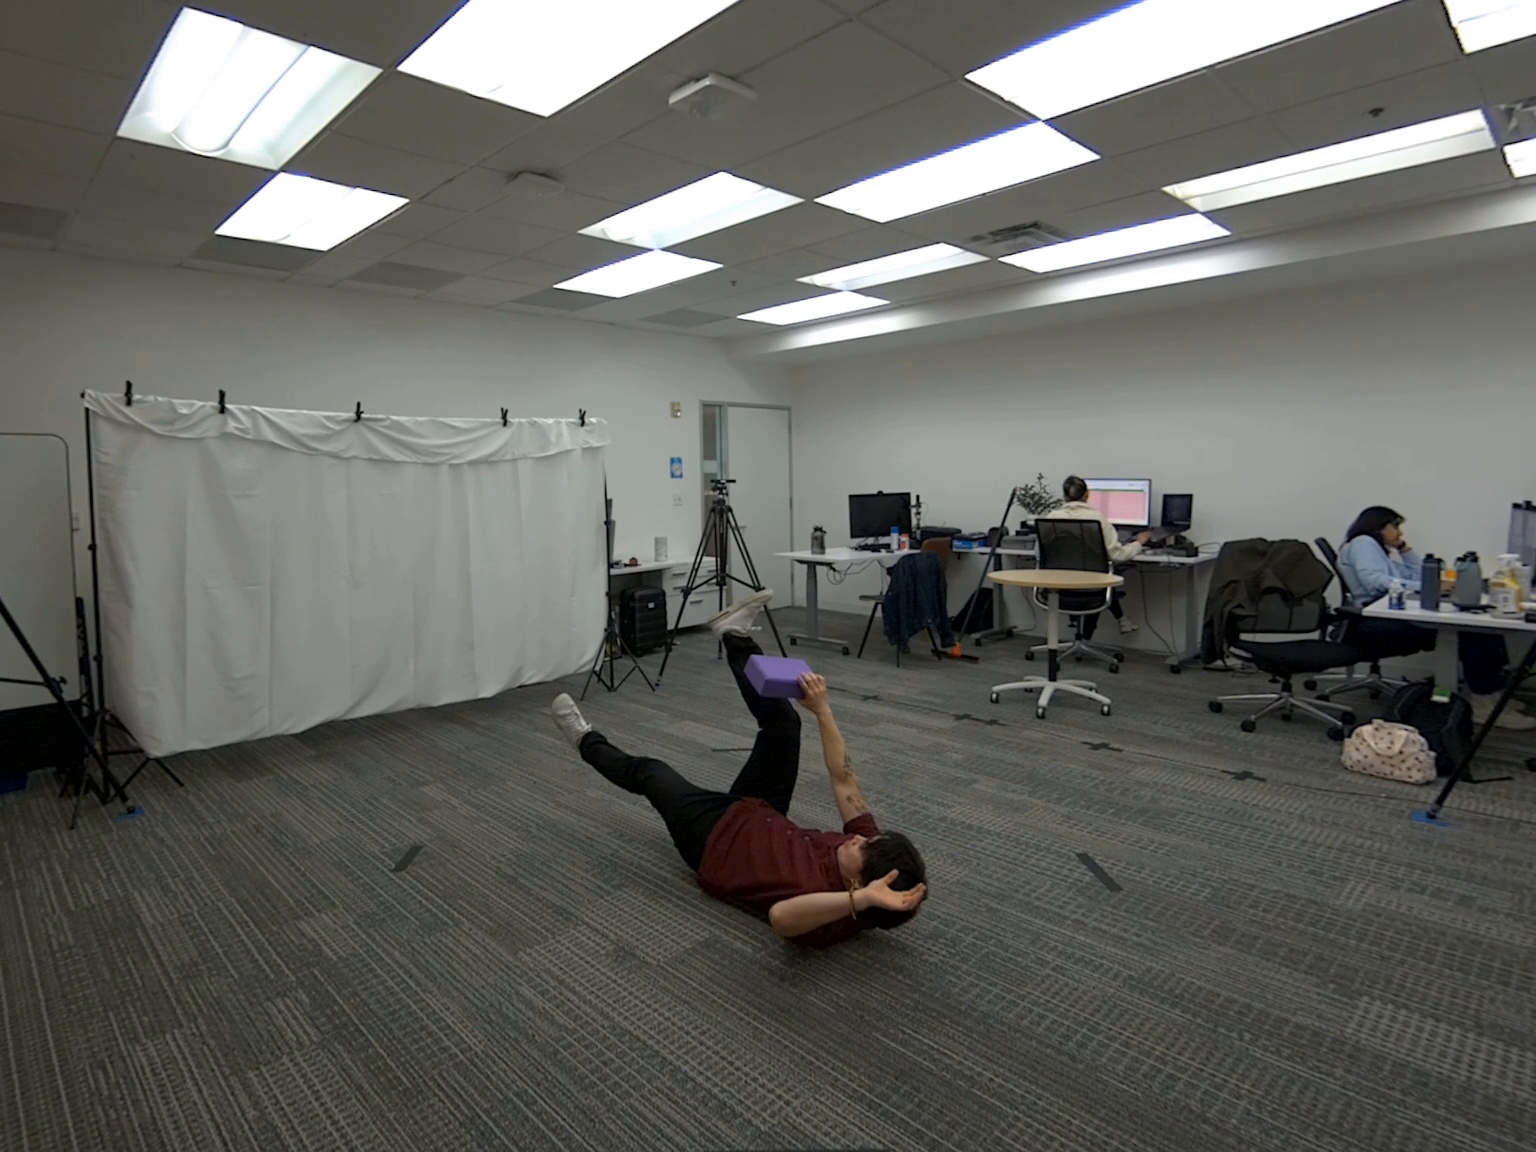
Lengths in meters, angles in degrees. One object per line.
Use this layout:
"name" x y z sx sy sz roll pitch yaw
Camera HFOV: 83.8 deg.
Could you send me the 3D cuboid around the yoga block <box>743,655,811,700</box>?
"yoga block" 0.057 0.345 2.924 0.222 0.076 0.155 8 25 -33
